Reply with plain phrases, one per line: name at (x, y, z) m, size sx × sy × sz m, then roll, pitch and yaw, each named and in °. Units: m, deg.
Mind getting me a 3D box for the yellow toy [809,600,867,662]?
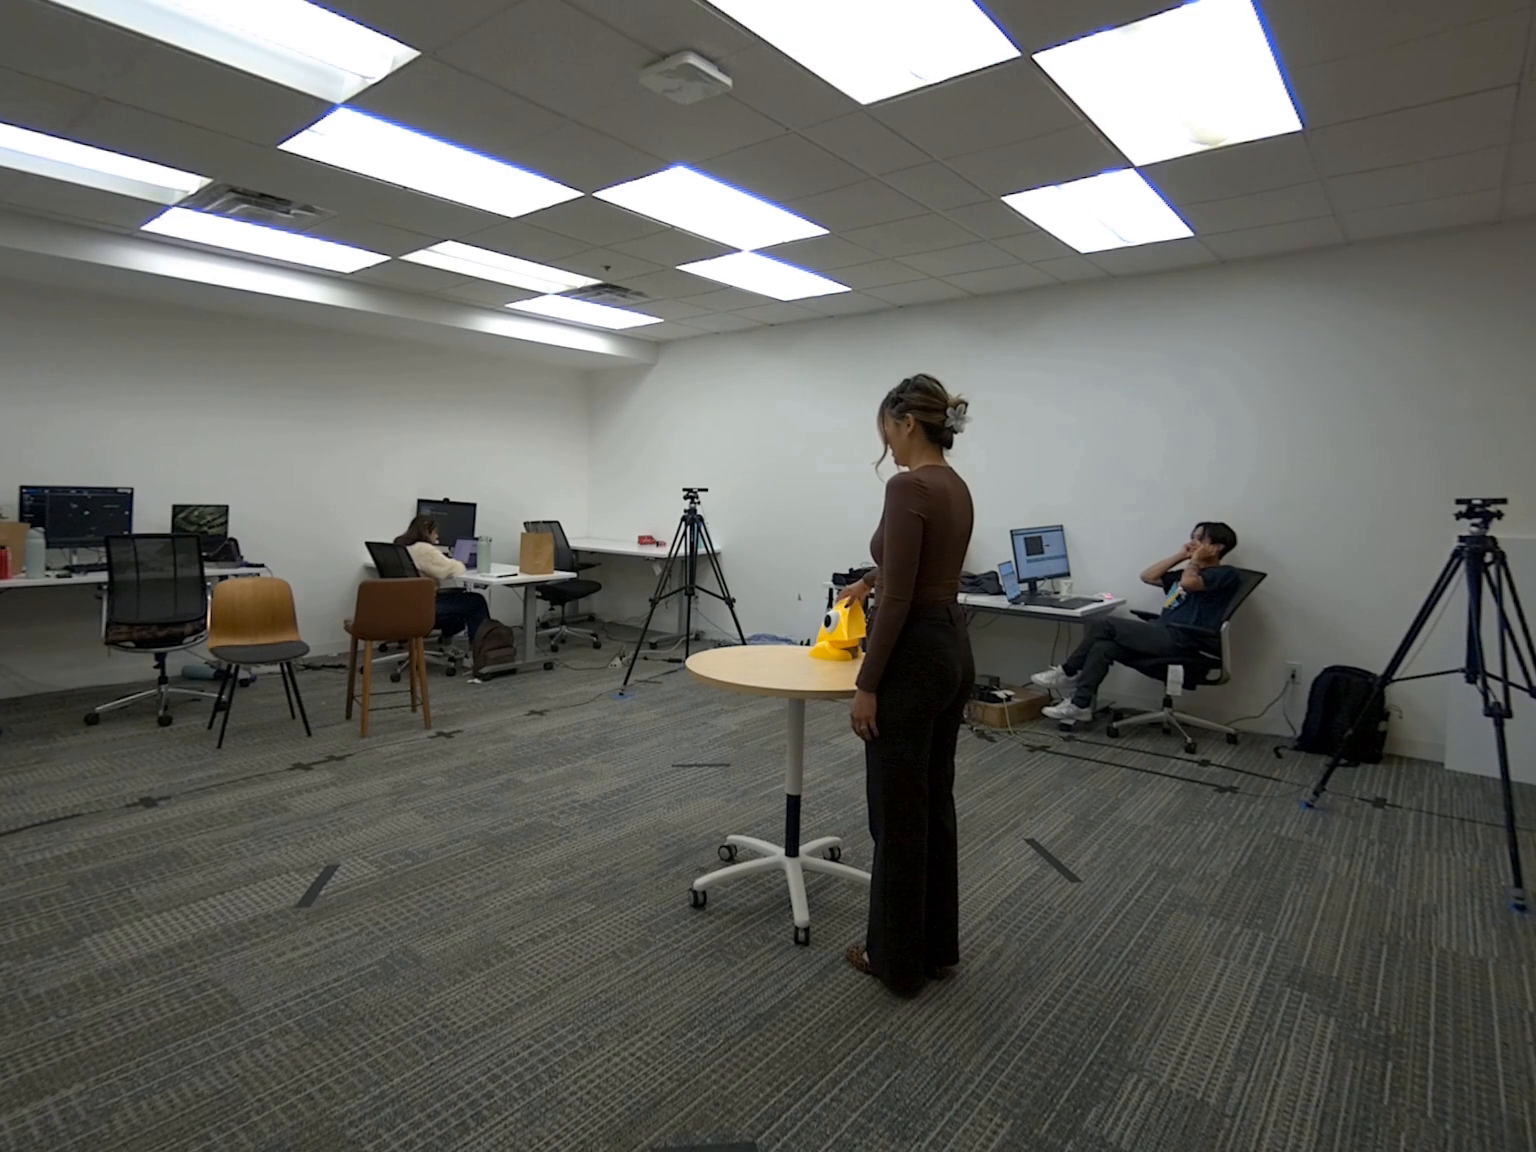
yellow toy at (0.248, 0.172, 3.080) m, size 0.199 × 0.230 × 0.199 m, roll 4°, pitch 4°, yaw 35°
